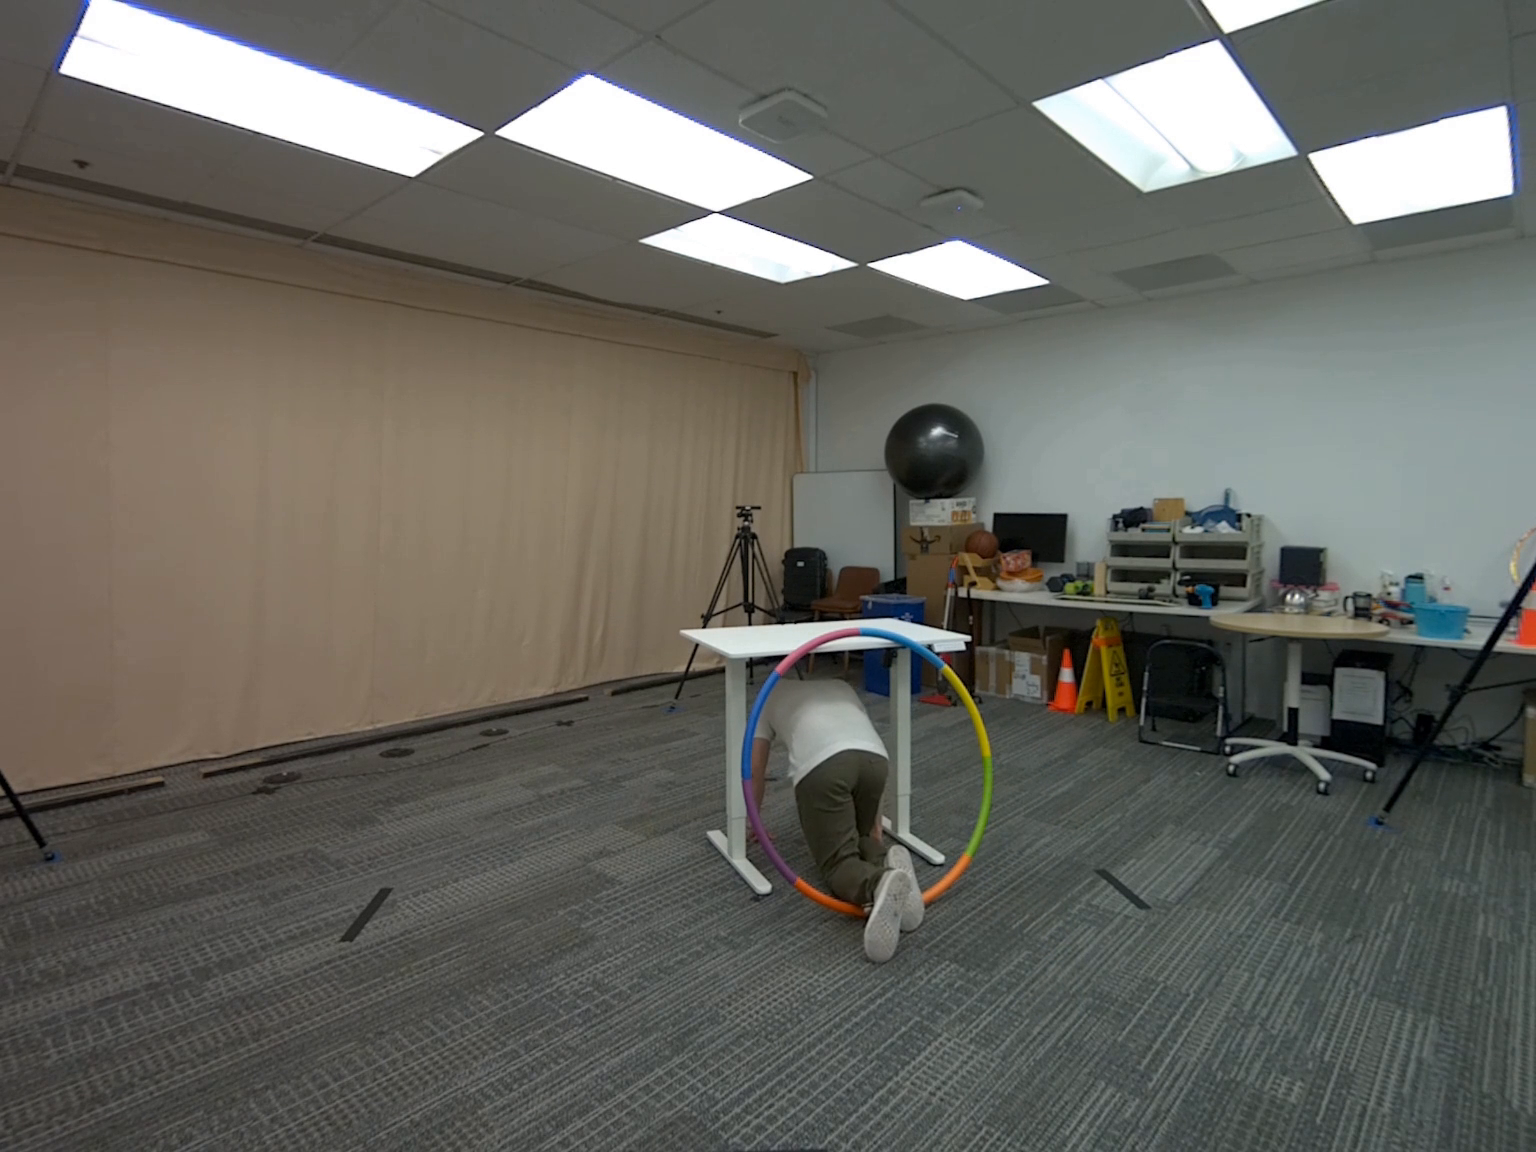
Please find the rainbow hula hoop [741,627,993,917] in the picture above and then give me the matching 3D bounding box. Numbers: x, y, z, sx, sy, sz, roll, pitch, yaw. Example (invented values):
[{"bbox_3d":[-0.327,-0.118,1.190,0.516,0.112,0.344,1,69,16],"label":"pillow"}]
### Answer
[{"bbox_3d":[0.383,0.677,2.964,0.959,0.987,0.036,-2,-13,-20],"label":"rainbow hula hoop"}]
